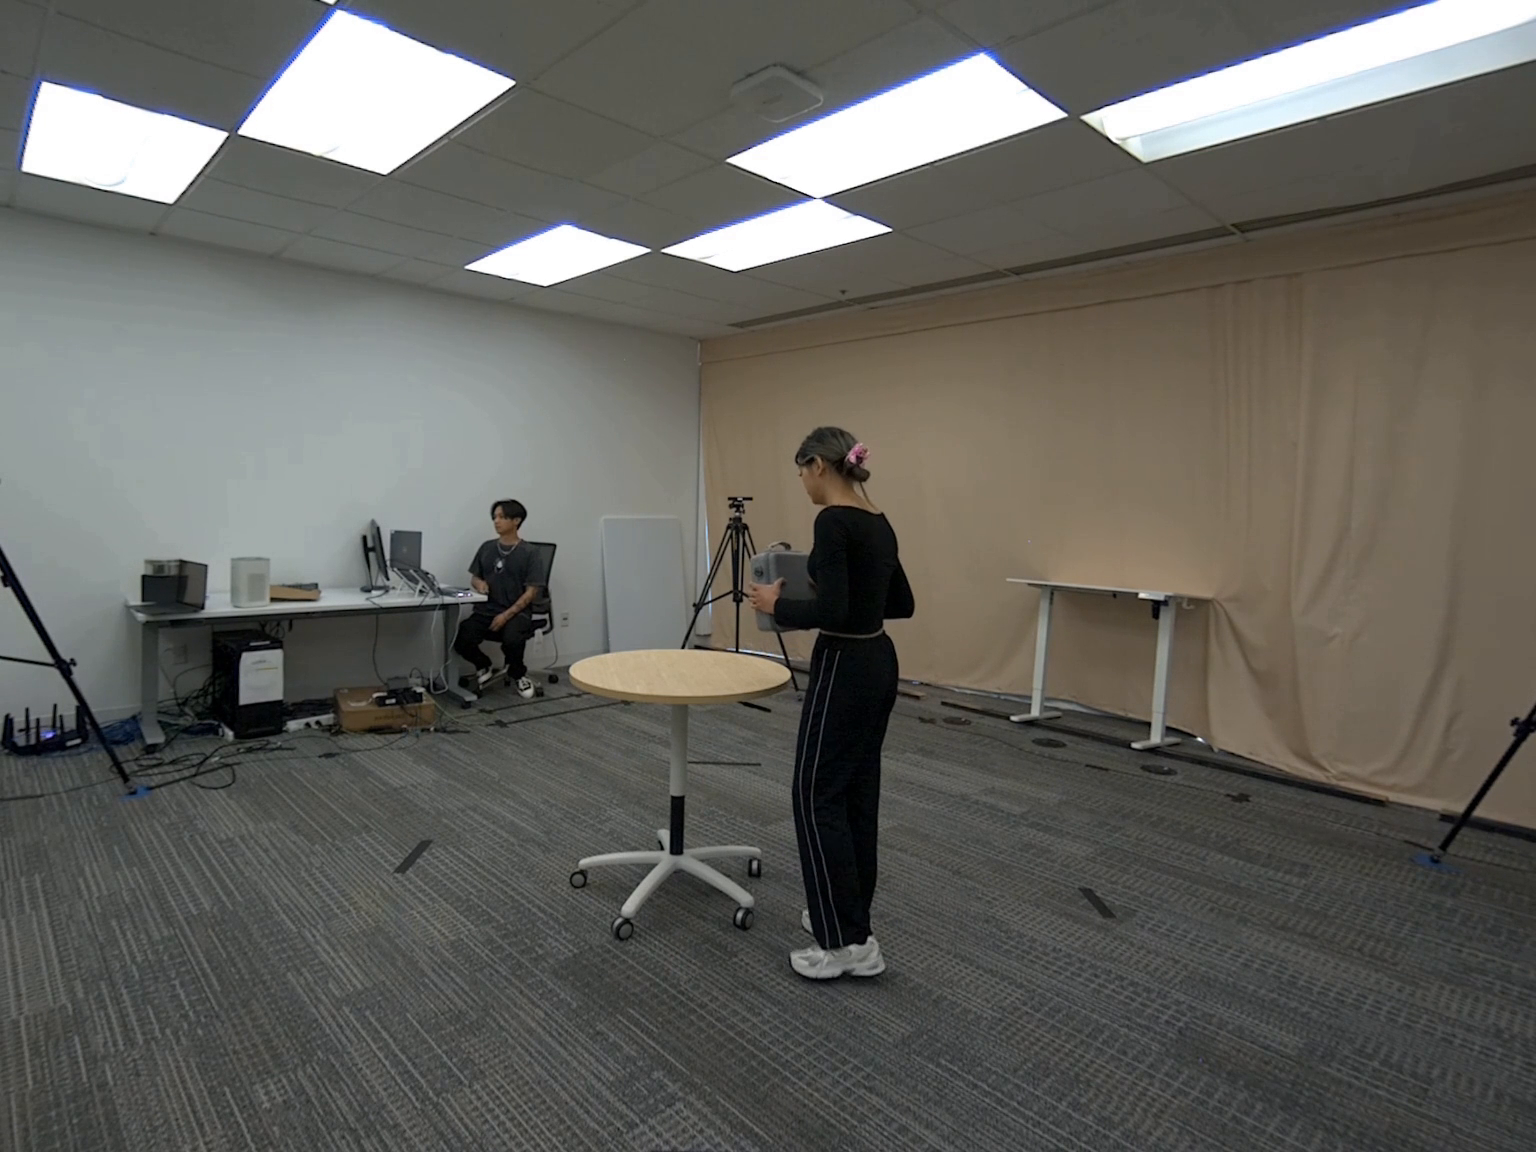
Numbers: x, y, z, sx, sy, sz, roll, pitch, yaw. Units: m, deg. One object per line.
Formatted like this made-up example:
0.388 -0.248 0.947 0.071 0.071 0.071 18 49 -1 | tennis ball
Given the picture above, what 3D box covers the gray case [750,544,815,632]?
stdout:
0.055 0.047 2.711 0.106 0.262 0.251 -10 -7 35 | gray case
